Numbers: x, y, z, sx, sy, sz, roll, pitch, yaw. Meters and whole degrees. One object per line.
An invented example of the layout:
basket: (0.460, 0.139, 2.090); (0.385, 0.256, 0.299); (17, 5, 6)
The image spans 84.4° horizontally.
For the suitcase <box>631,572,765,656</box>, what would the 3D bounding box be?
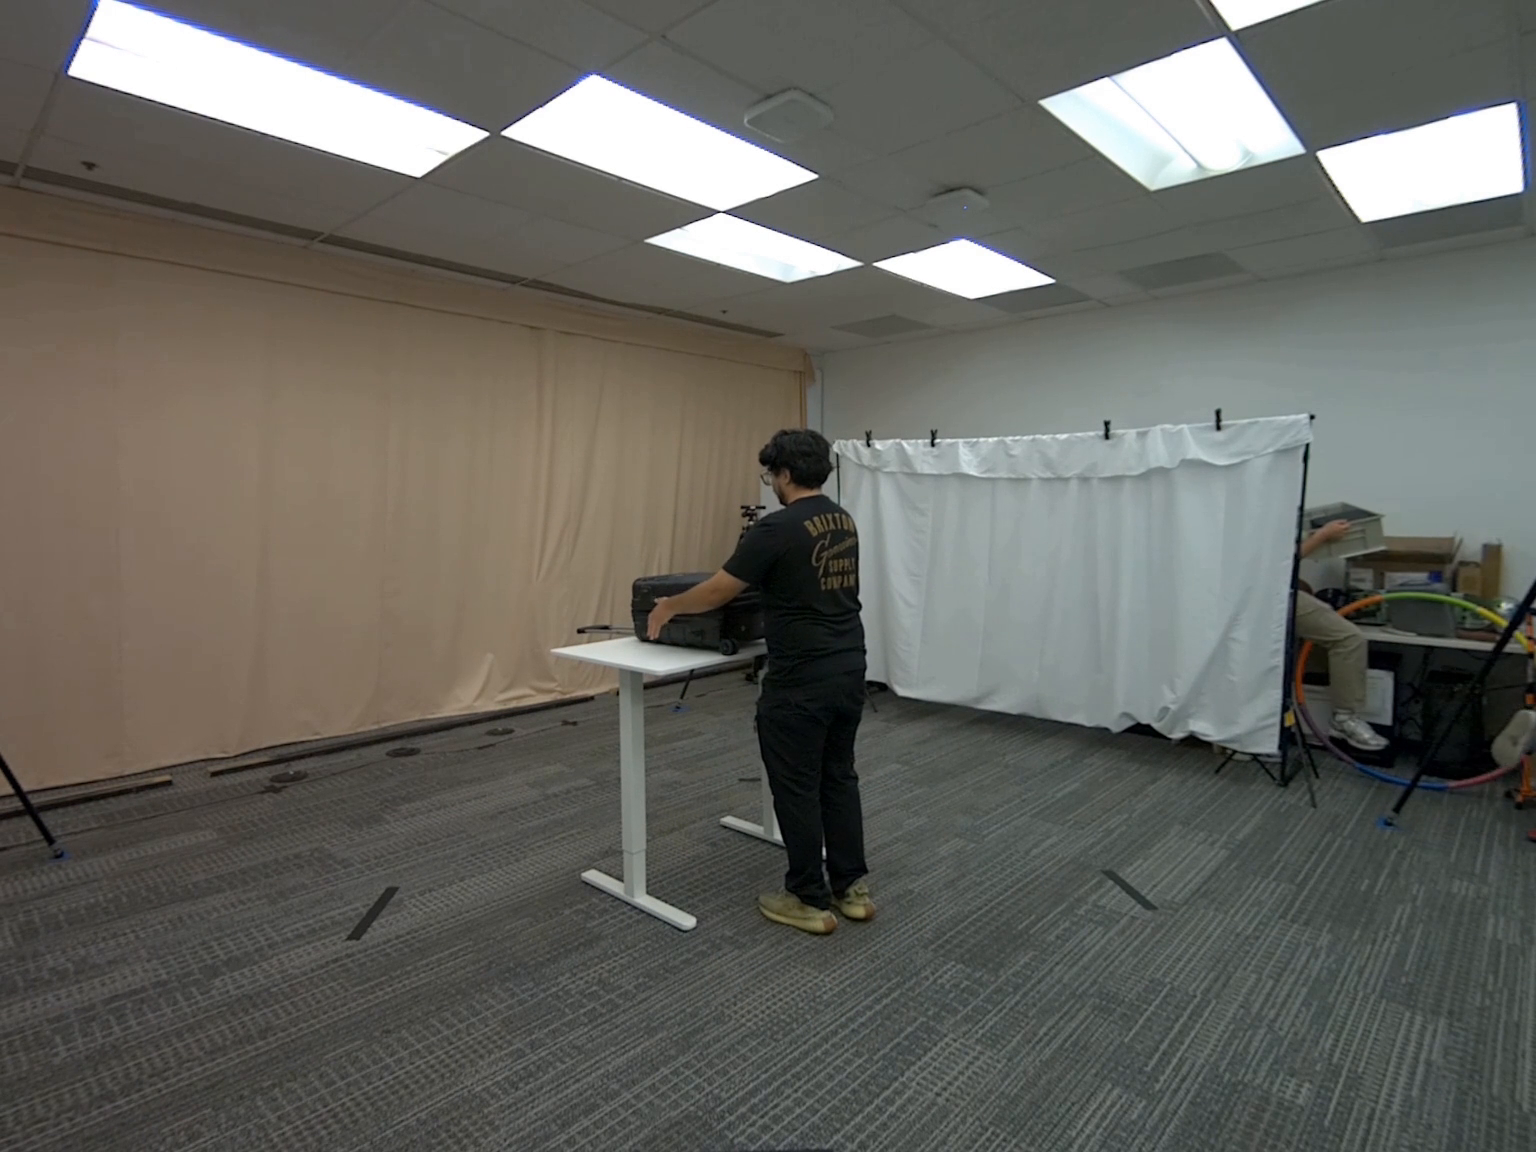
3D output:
suitcase: (-0.389, 0.118, 3.300); (1.011, 0.256, 0.372); (2, 5, 44)
